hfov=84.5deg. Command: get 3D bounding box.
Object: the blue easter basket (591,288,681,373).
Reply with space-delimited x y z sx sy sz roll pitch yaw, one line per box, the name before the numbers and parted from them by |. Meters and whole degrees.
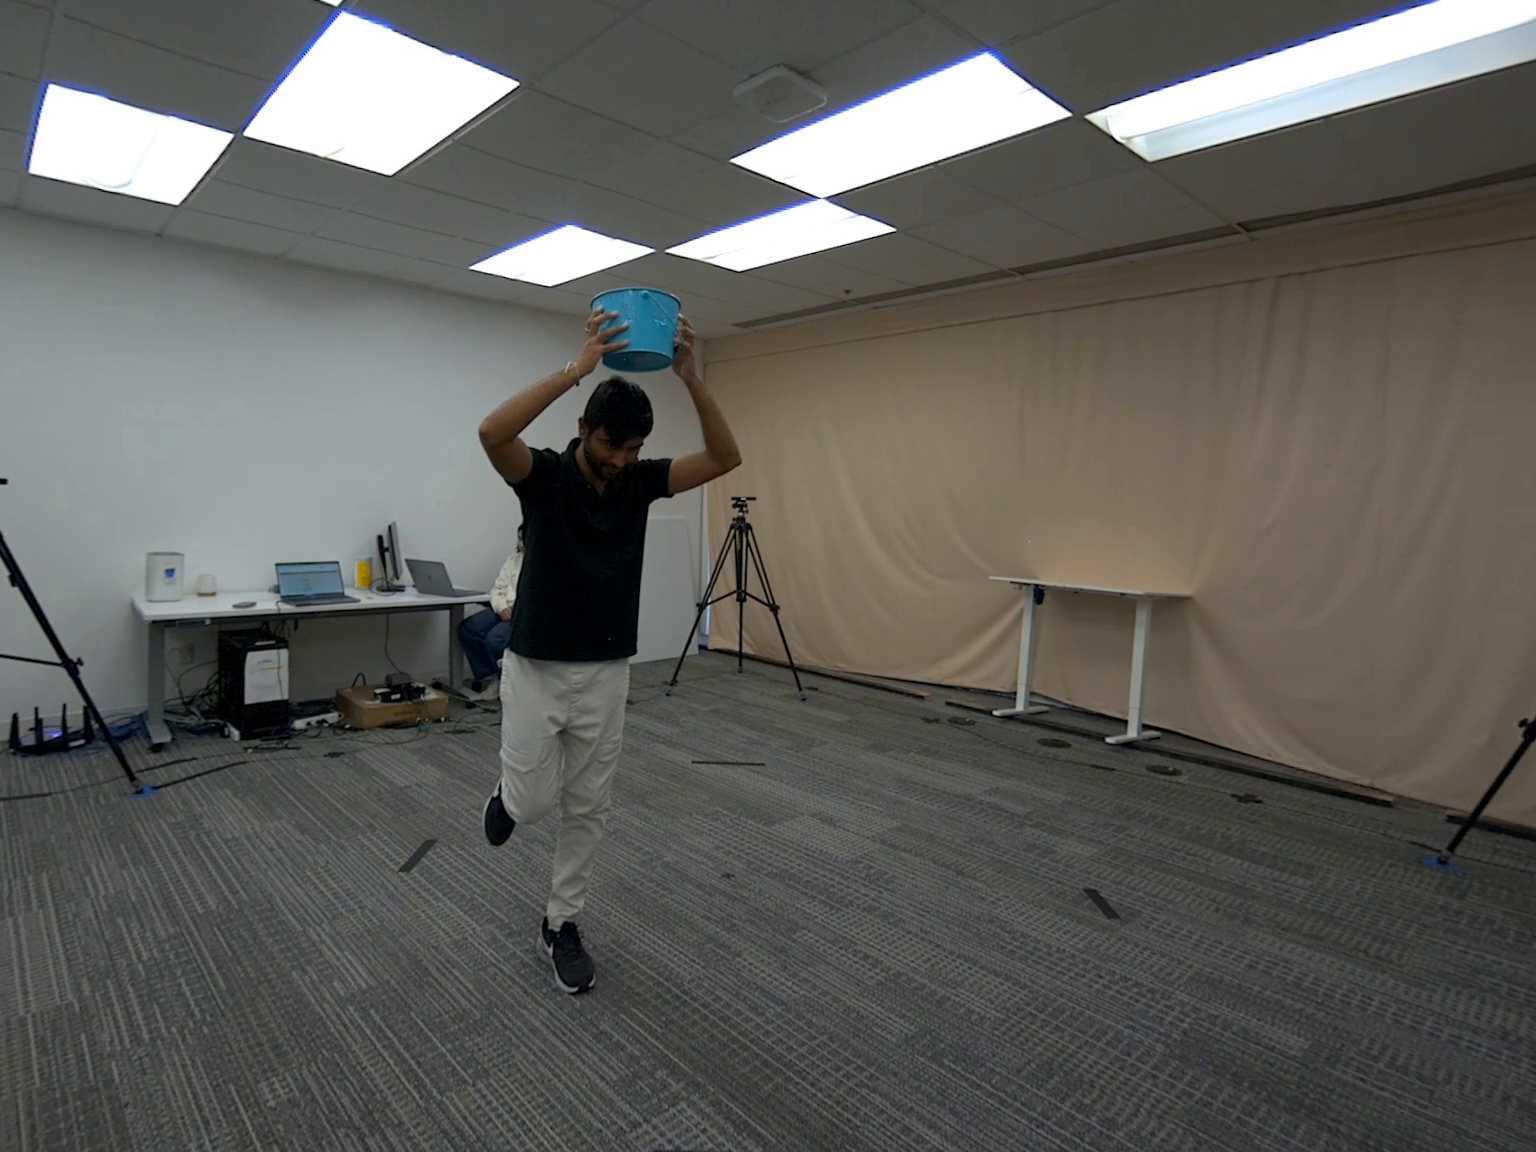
blue easter basket | -0.344 -0.628 2.149 0.243 0.156 0.243 -2 -4 -2
